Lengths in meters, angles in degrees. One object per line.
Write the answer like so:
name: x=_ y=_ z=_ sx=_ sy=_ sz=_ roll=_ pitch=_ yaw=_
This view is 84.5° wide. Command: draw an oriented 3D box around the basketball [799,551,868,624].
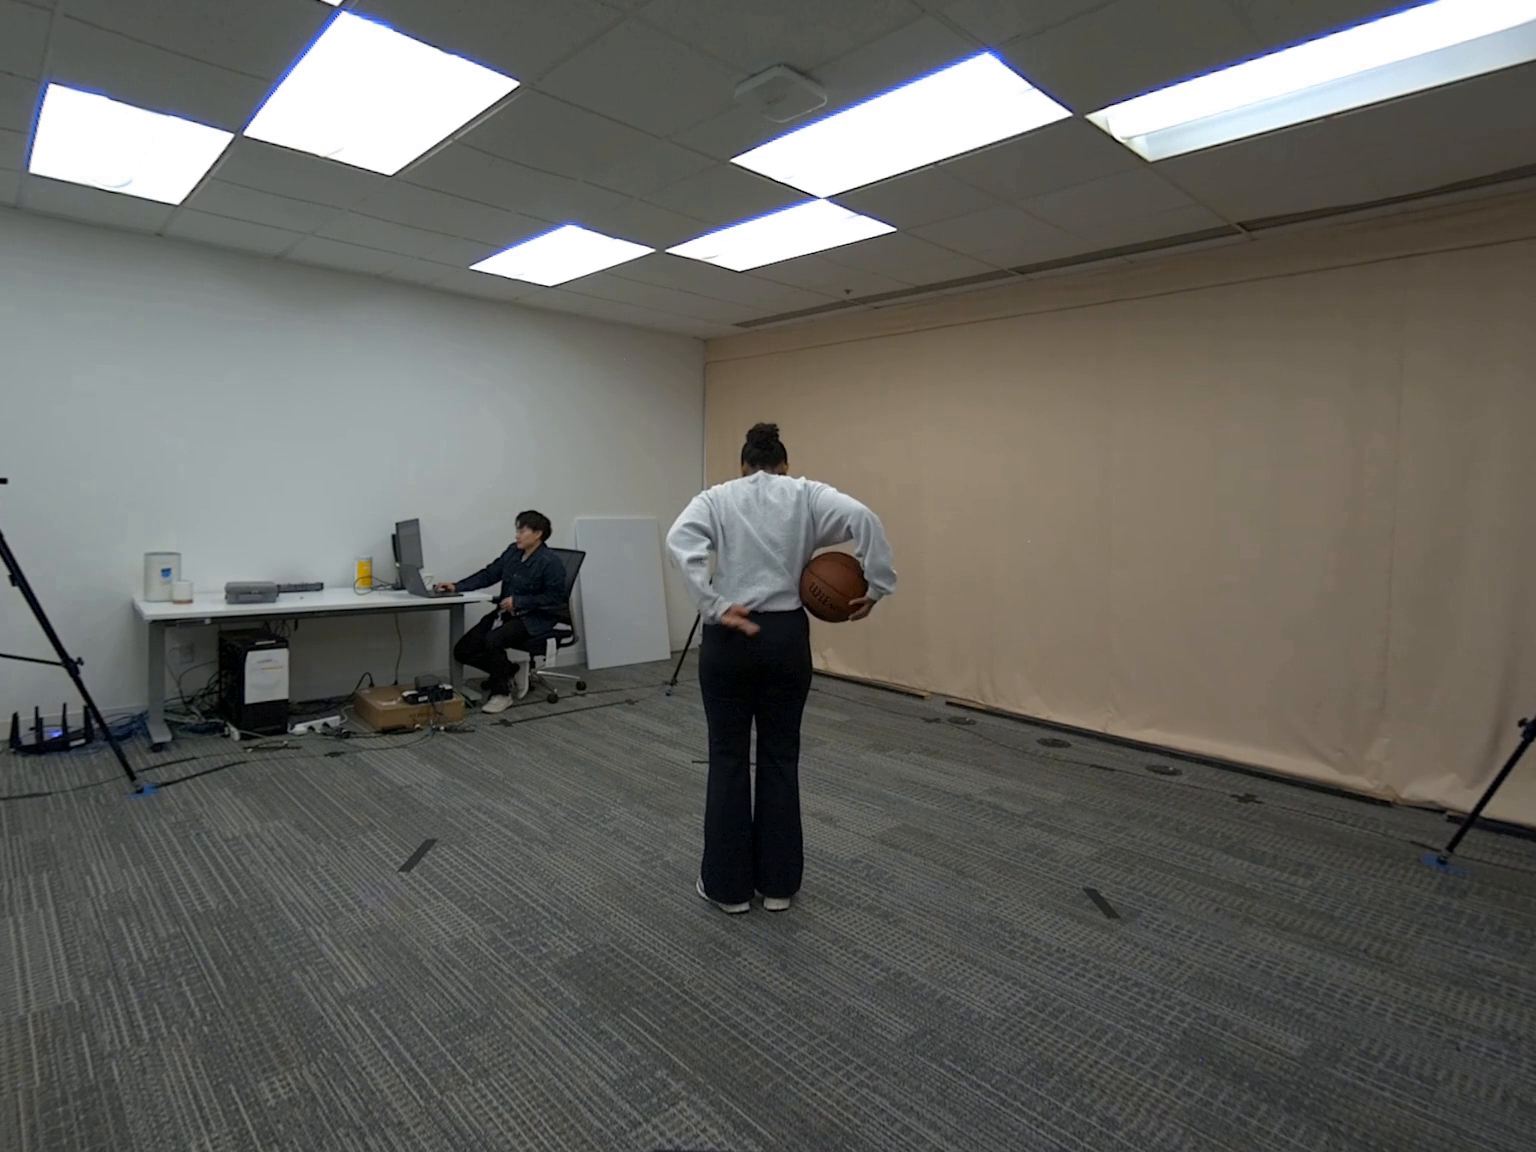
basketball: x=0.214 y=0.038 z=2.817 sx=0.236 sy=0.235 sz=0.237 roll=1 pitch=4 yaw=-1
